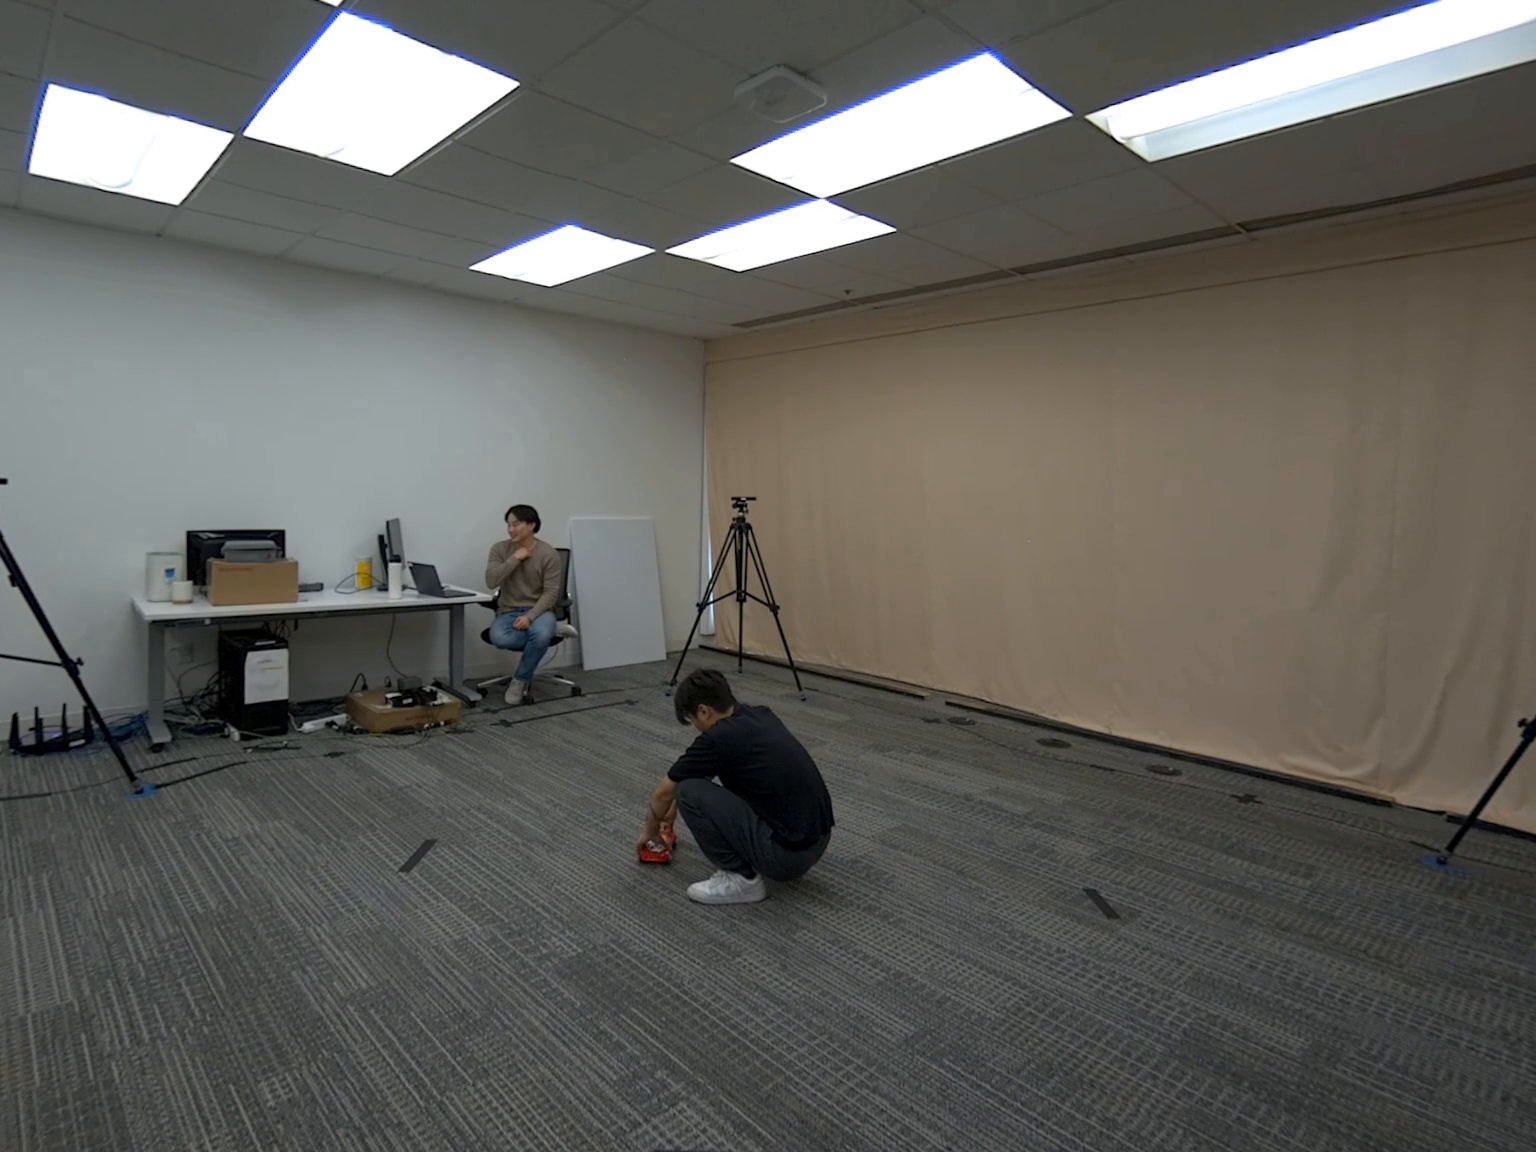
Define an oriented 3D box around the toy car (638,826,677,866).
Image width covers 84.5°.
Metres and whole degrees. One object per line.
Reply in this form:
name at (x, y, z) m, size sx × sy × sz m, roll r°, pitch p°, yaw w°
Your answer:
toy car at (-0.427, 1.045, 3.301) m, size 0.131 × 0.082 × 0.256 m, roll 2°, pitch 18°, yaw 5°
